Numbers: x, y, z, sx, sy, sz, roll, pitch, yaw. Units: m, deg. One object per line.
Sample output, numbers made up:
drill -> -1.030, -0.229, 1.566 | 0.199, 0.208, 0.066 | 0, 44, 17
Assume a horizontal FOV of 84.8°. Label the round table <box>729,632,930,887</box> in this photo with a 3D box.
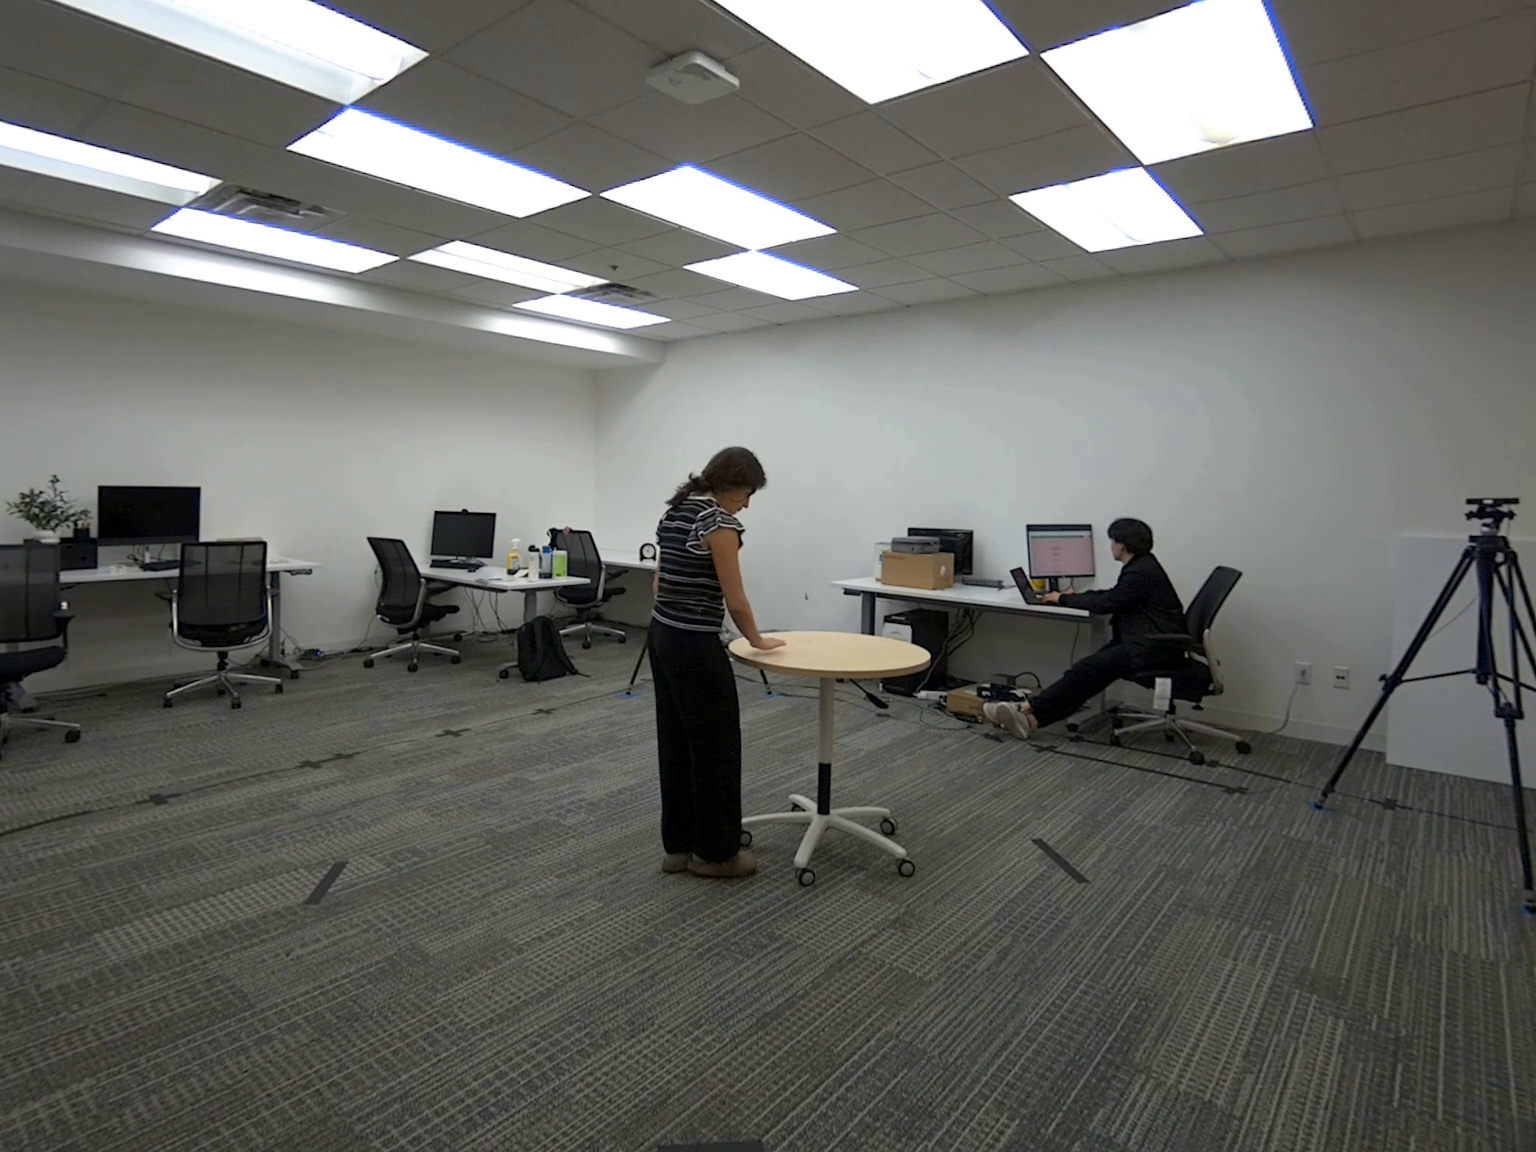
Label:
round table -> 0.214, 0.670, 3.293 | 0.763, 0.791, 0.768 | 1, 5, -2
